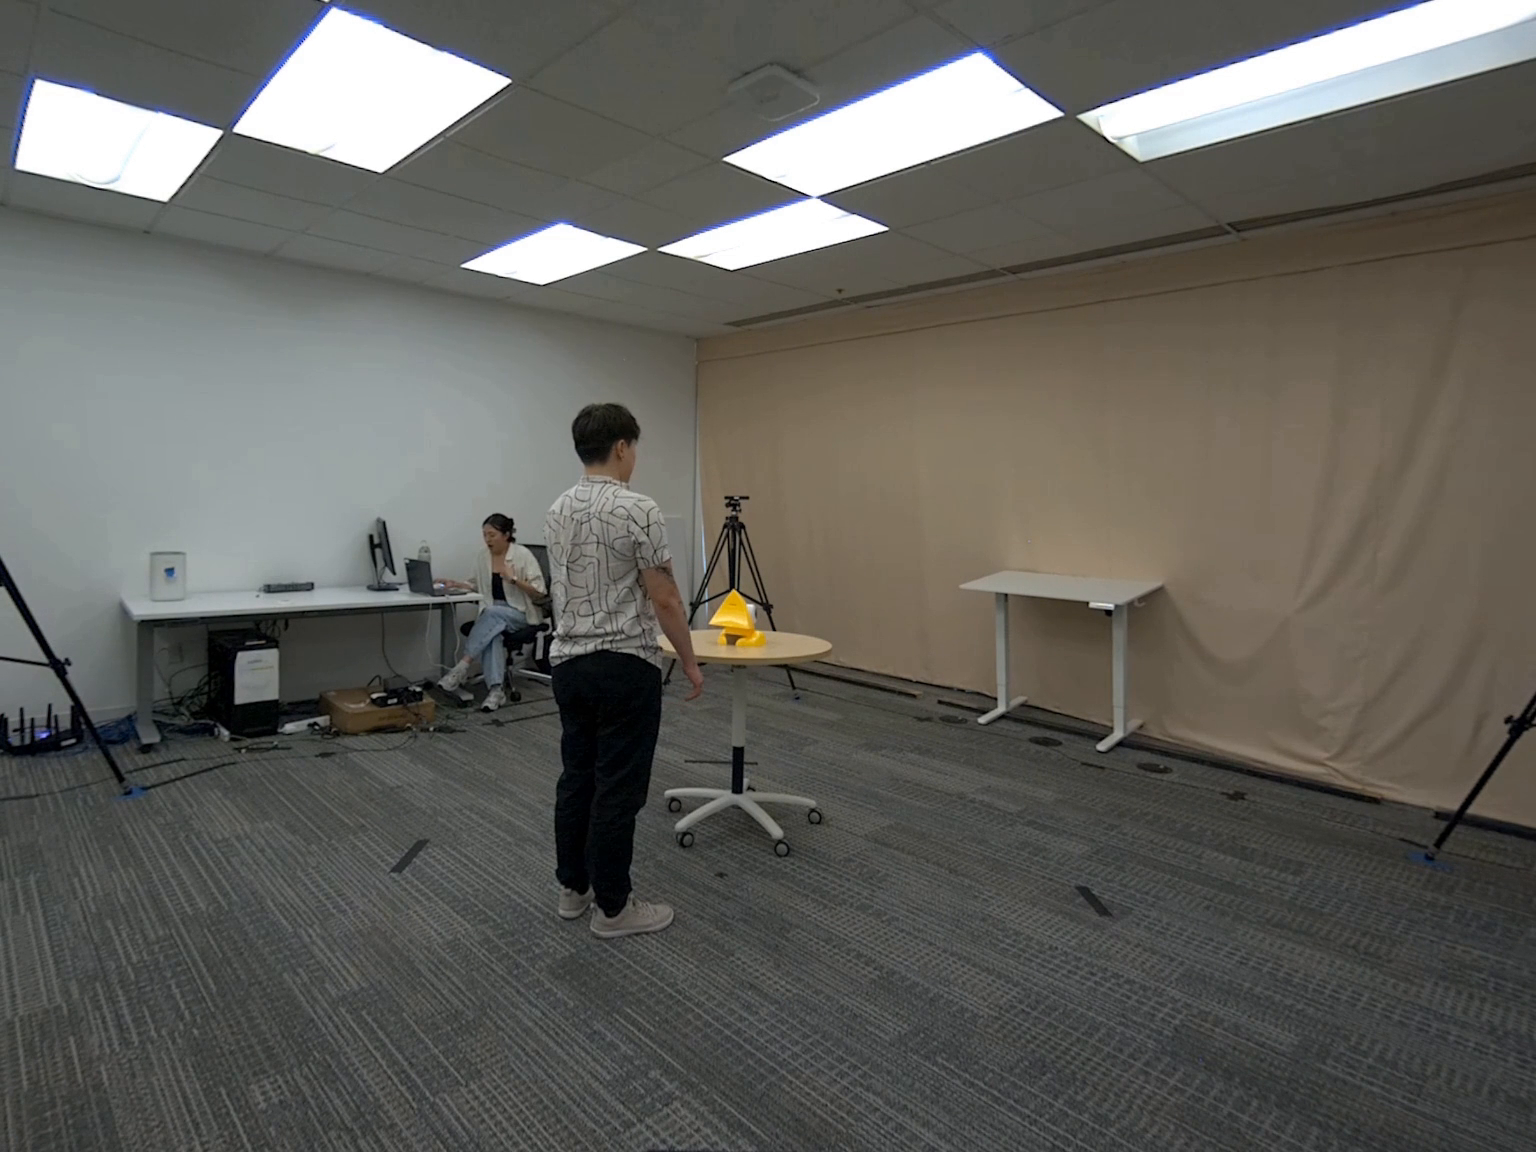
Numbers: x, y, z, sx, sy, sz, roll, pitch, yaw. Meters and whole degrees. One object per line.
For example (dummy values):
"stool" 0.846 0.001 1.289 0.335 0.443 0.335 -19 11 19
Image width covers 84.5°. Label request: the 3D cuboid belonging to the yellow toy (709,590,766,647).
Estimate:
"yellow toy" -0.122 0.171 3.538 0.209 0.230 0.189 2 2 34
